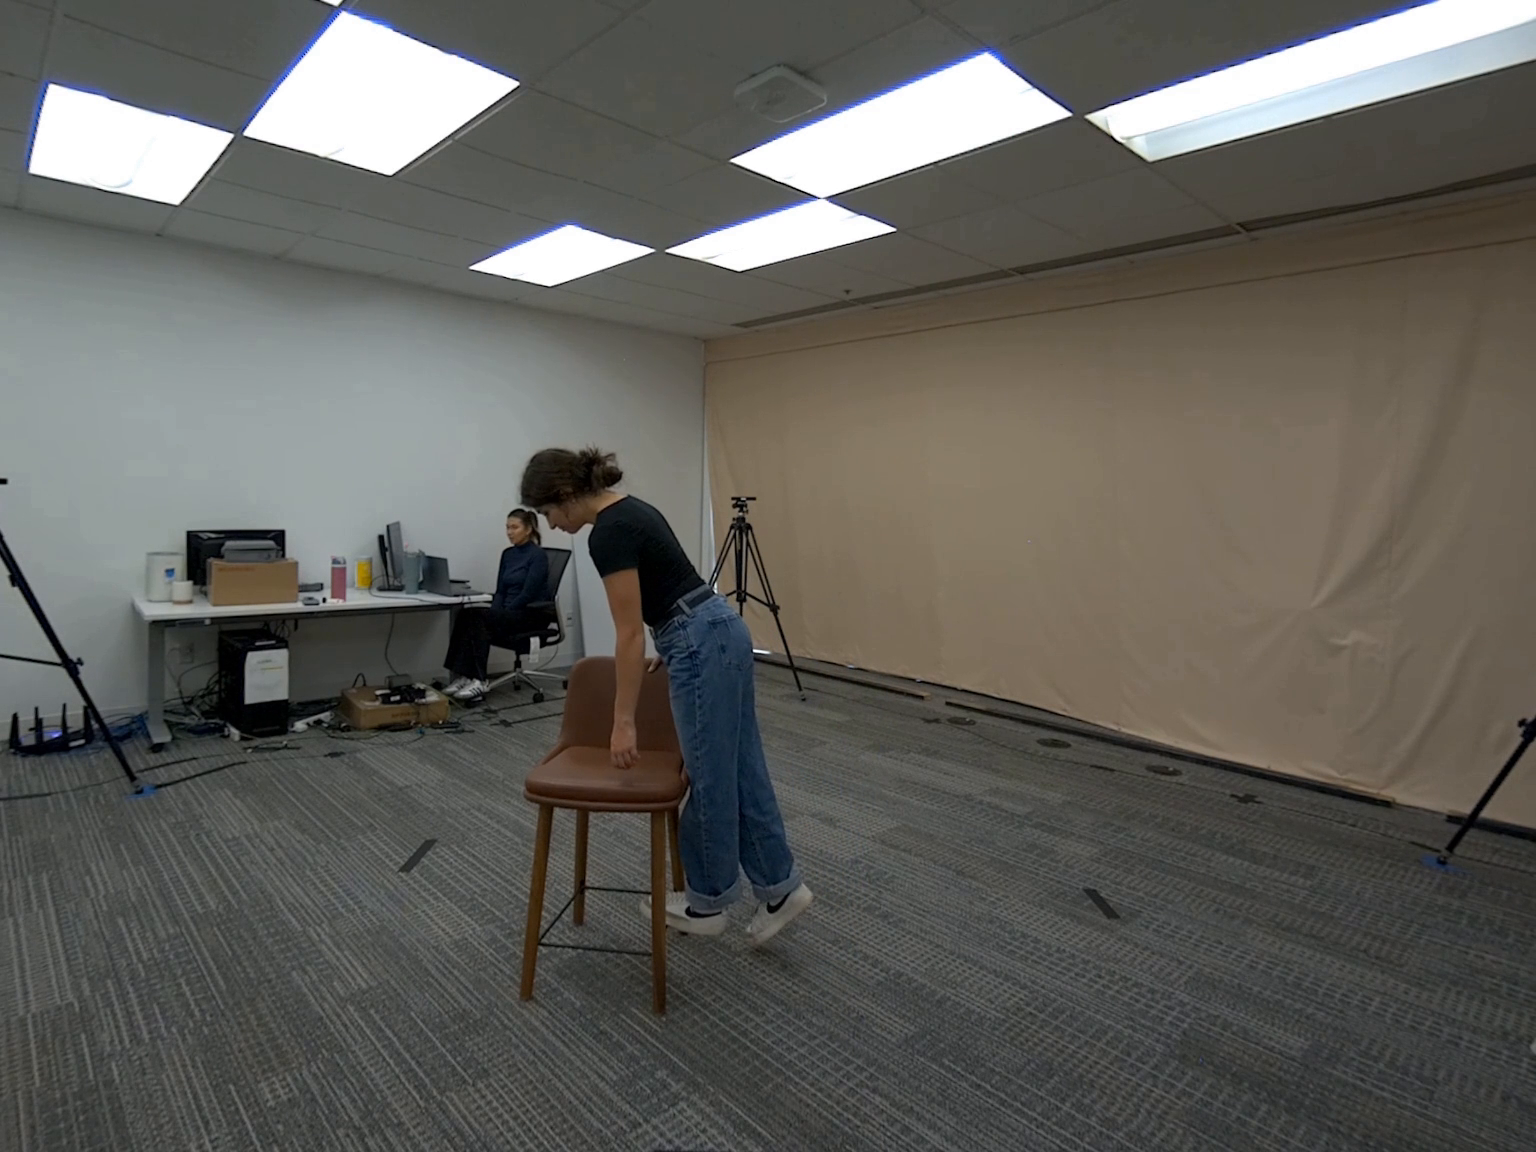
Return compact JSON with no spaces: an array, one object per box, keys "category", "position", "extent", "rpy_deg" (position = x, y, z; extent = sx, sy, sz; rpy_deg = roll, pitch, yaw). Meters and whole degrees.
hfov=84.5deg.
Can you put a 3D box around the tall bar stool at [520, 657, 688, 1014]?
[{"category":"tall bar stool","position":[-0.458,0.722,2.482],"extent":[0.460,0.889,0.465],"rpy_deg":[2,1,8]}]
